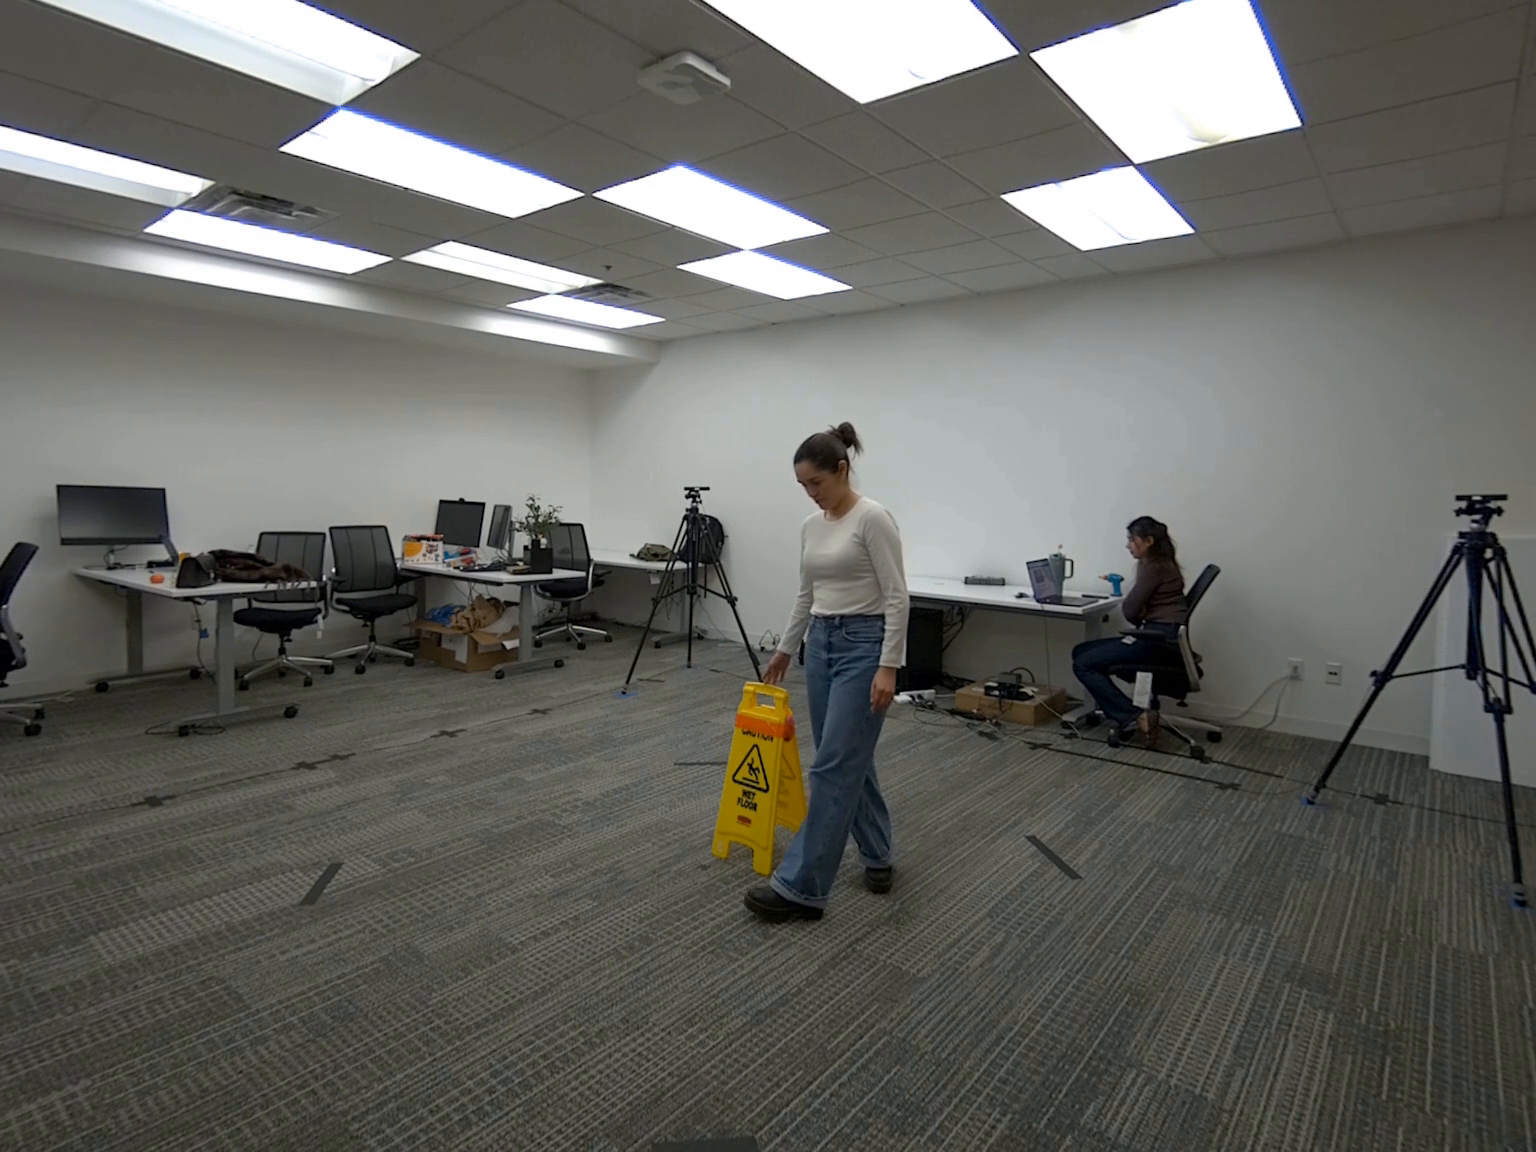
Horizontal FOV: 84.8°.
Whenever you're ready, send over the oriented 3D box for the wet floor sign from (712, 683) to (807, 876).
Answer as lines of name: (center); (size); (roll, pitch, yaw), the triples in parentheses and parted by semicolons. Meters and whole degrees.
wet floor sign: (-0.022, 0.731, 3.236); (0.292, 0.644, 0.281); (4, 4, 39)
